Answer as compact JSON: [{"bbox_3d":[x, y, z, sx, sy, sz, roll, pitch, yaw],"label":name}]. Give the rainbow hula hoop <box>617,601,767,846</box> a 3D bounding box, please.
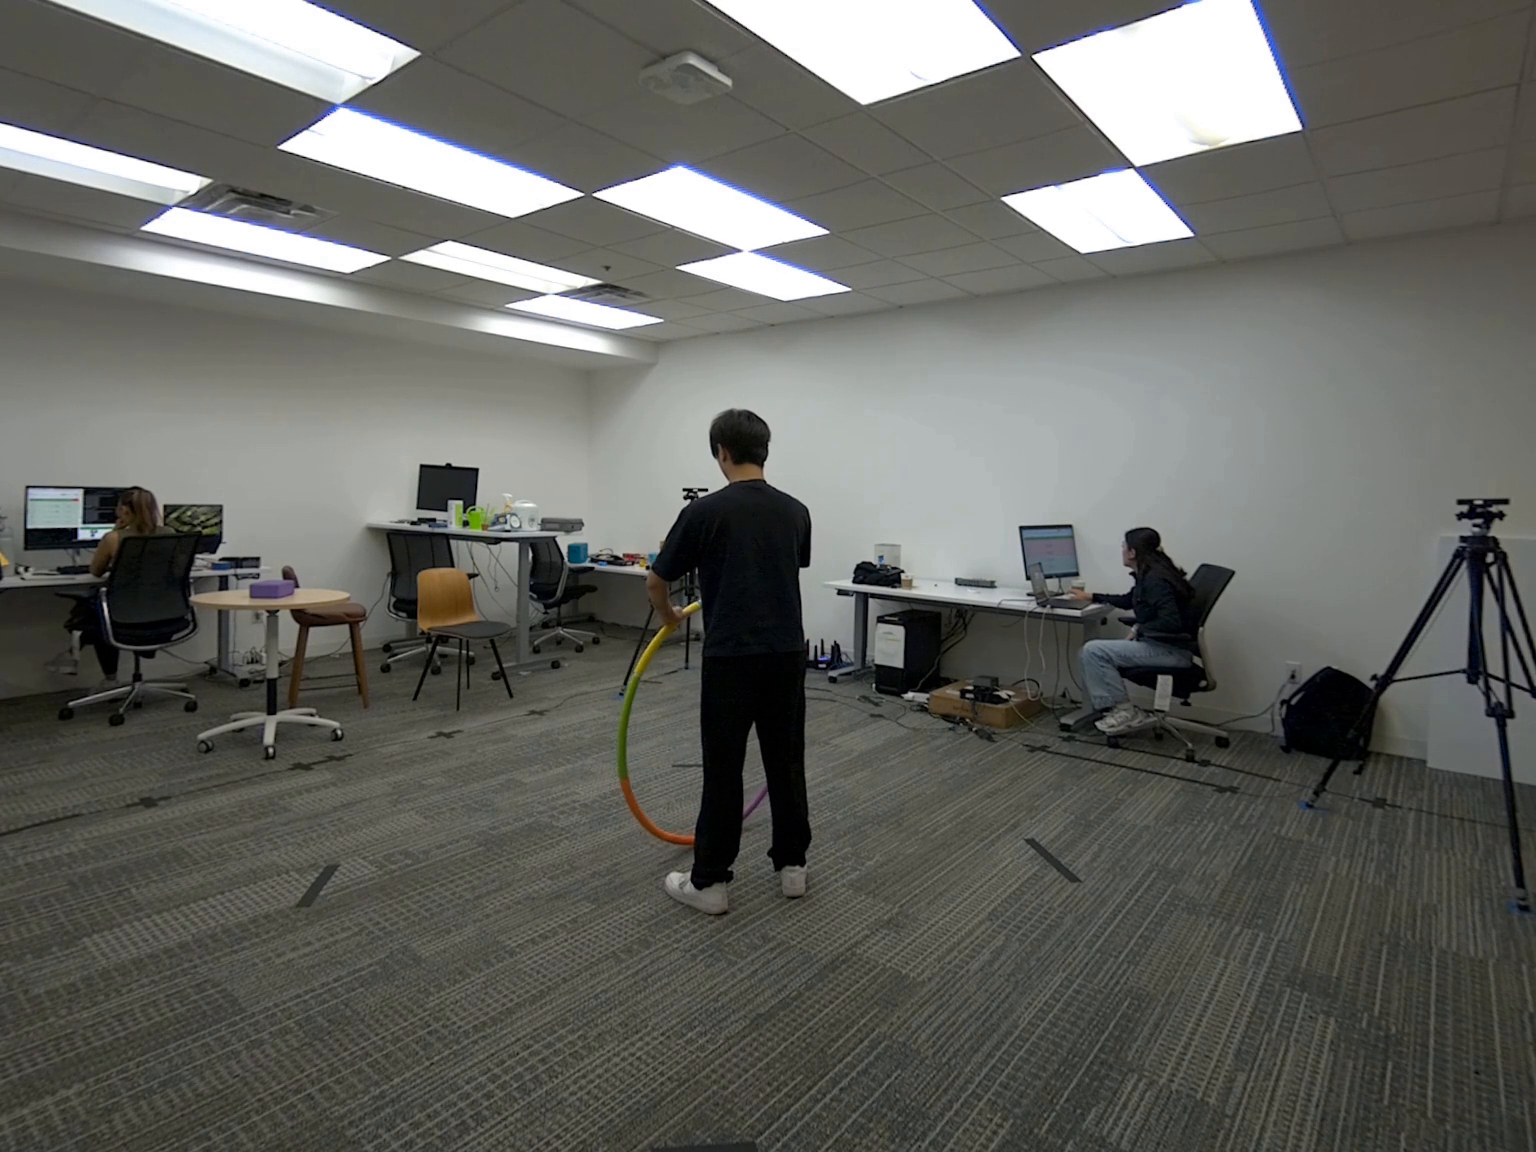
[{"bbox_3d":[-0.213,0.561,3.337,0.037,0.974,0.949,6,6,43],"label":"rainbow hula hoop"}]
